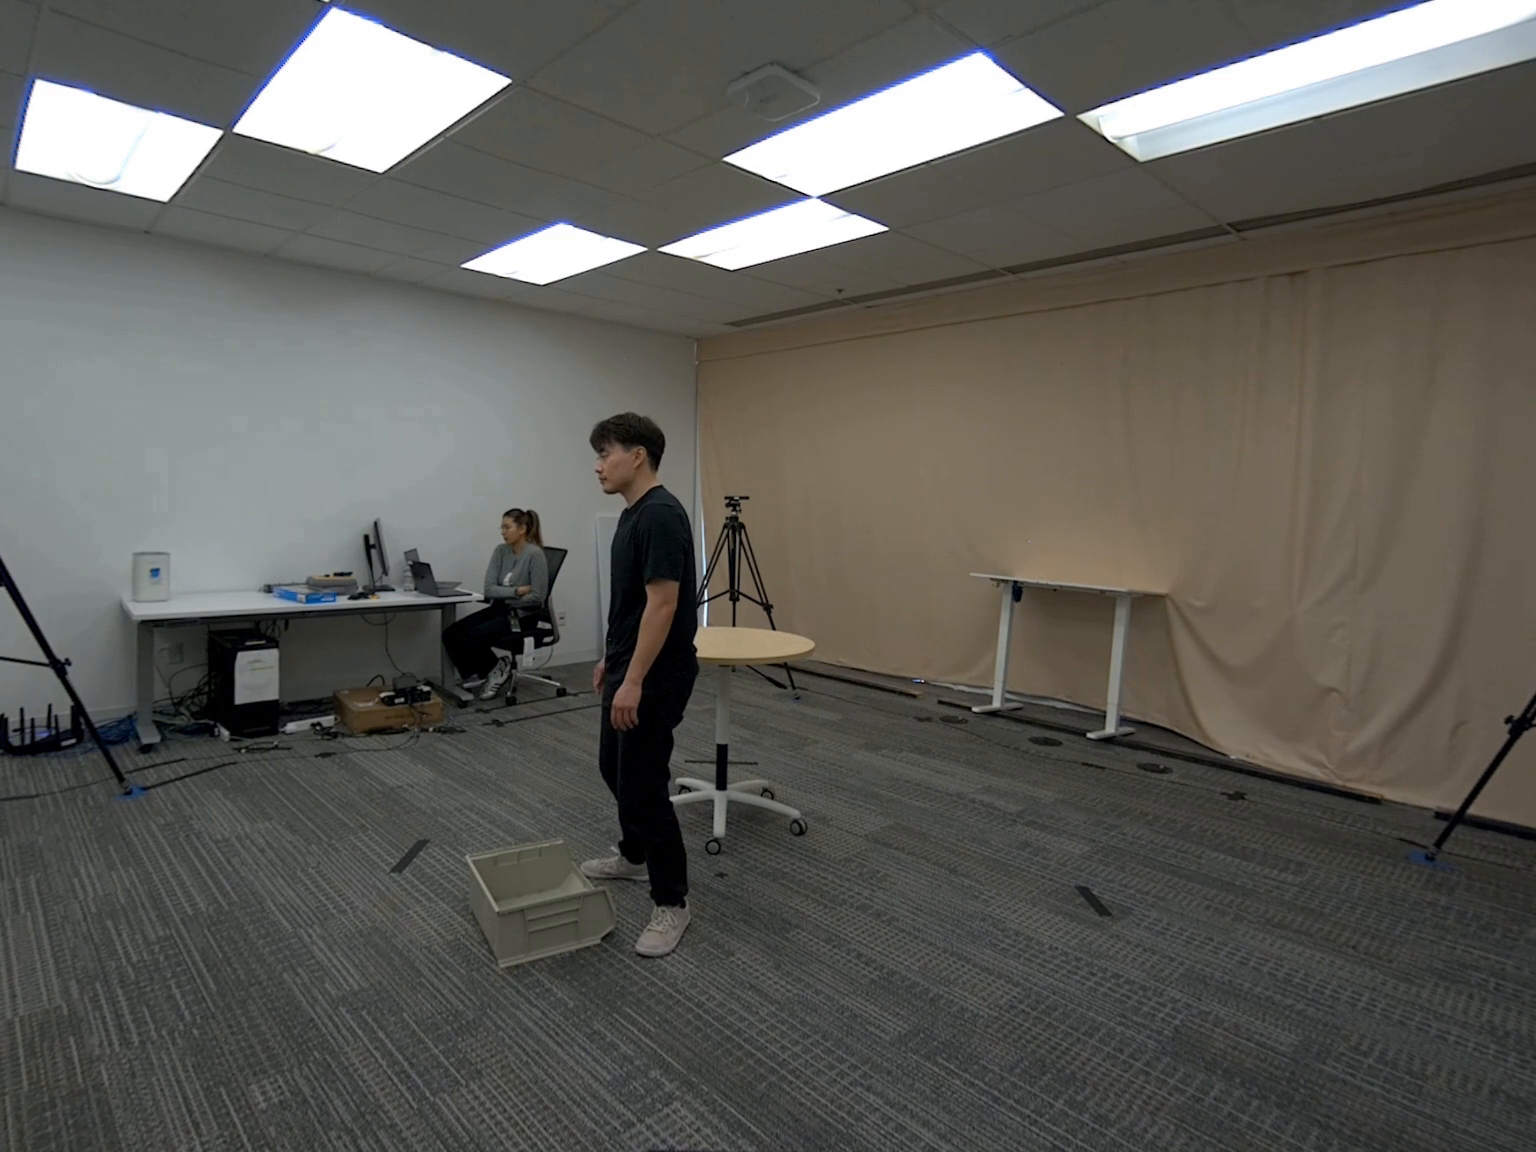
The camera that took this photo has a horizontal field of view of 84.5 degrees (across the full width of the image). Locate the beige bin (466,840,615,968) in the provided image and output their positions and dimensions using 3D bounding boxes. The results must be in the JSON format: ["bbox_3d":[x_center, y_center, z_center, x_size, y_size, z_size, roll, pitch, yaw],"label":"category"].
[{"bbox_3d":[-0.751,1.042,2.713,0.370,0.188,0.432,-2,6,-31],"label":"beige bin"}]
